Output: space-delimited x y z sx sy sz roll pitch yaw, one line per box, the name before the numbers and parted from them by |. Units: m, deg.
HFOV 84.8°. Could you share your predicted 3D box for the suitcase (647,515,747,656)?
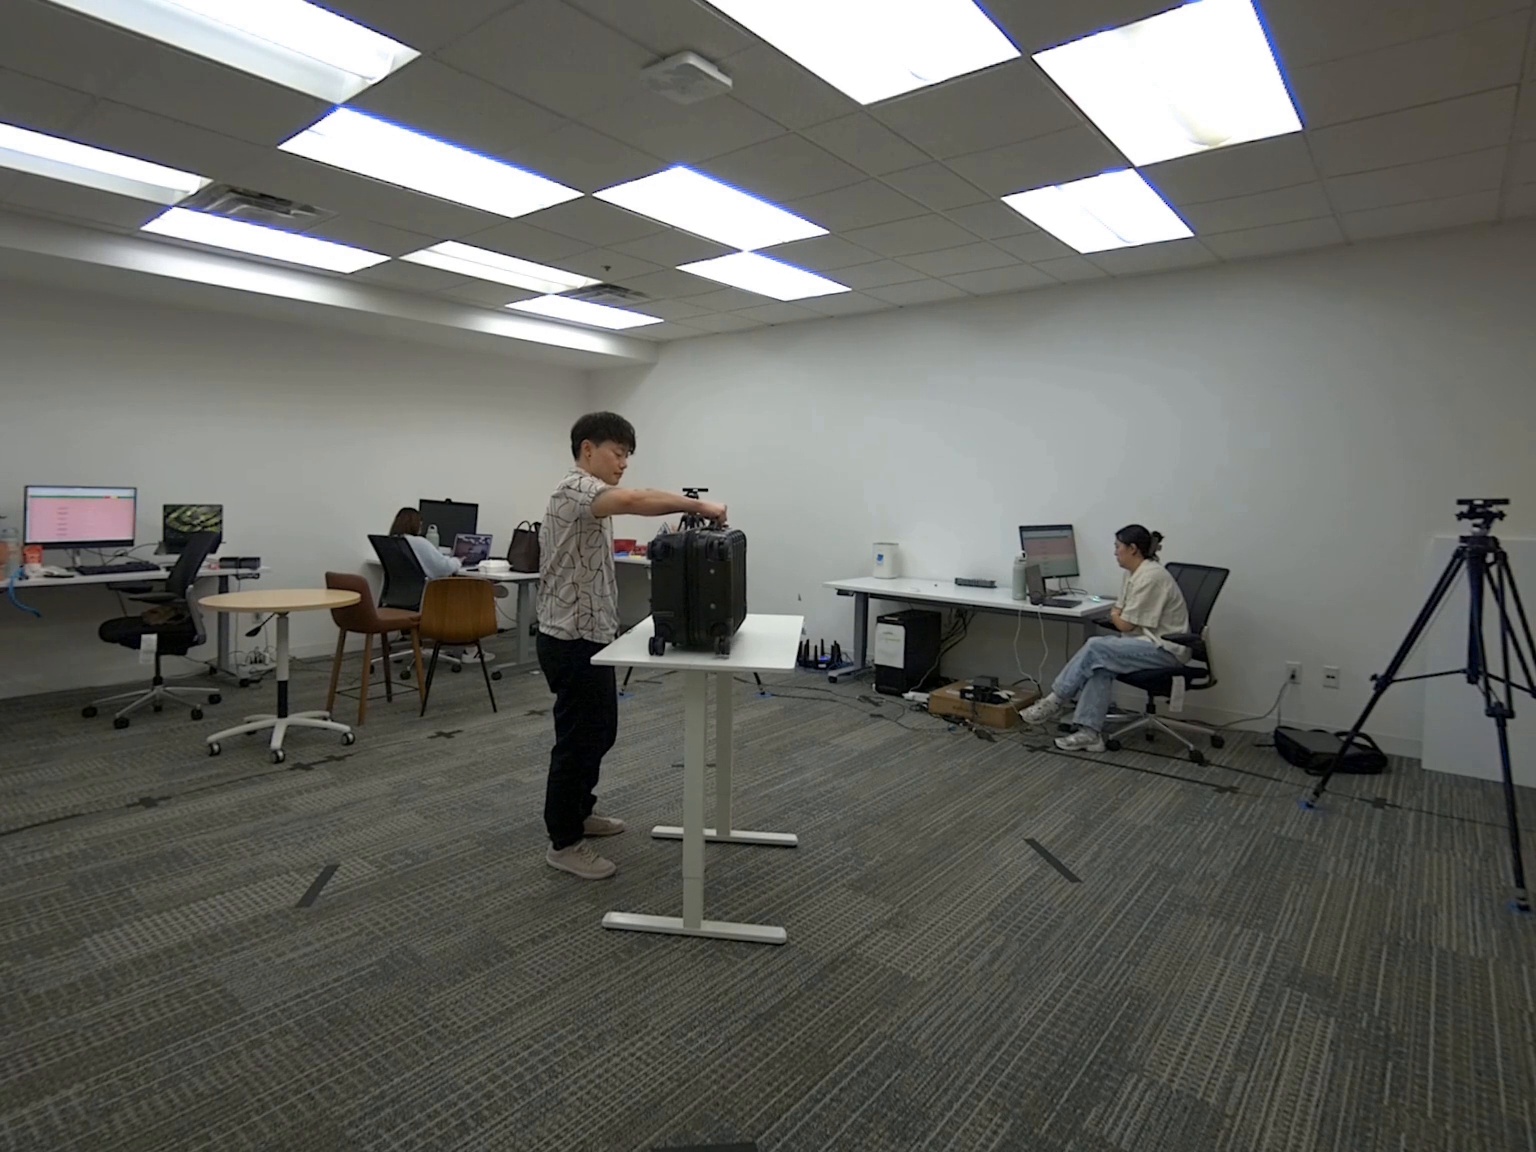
suitcase | -0.217 0.018 2.808 0.250 0.374 0.546 -1 4 7
